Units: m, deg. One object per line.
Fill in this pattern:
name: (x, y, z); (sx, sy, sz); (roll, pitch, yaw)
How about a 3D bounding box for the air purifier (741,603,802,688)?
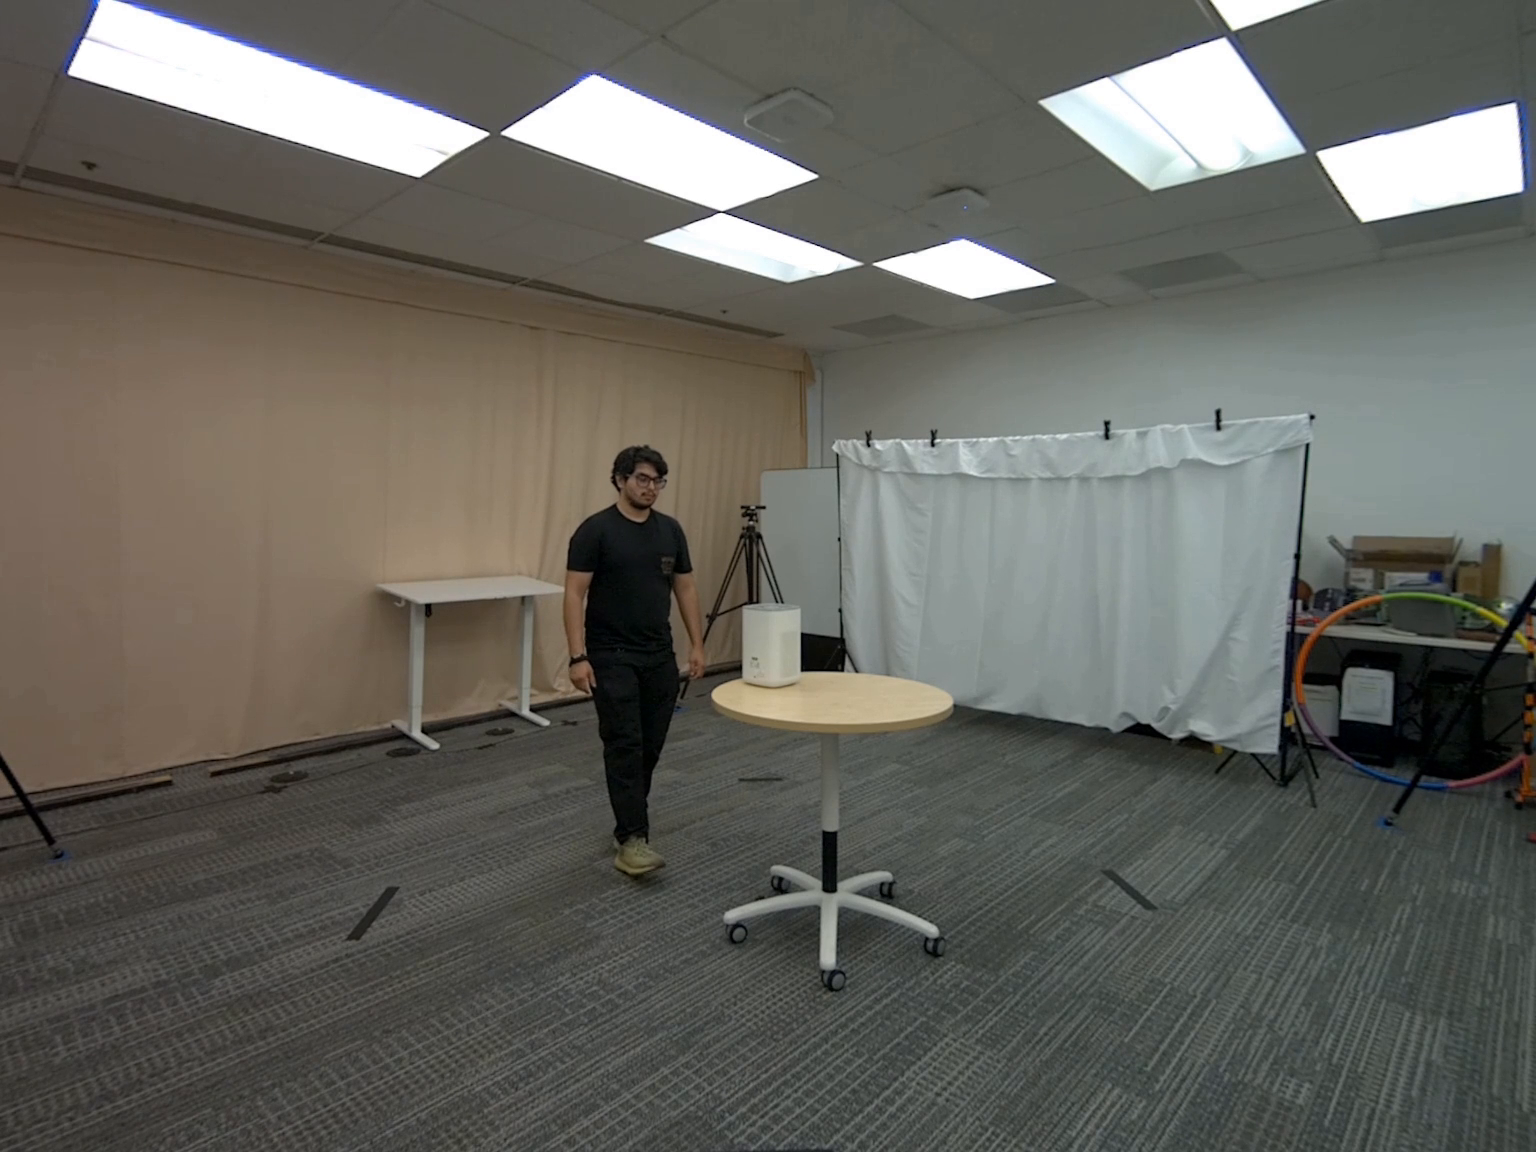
air purifier: (0.016, 0.234, 2.879); (0.177, 0.265, 0.166); (2, 3, 42)
